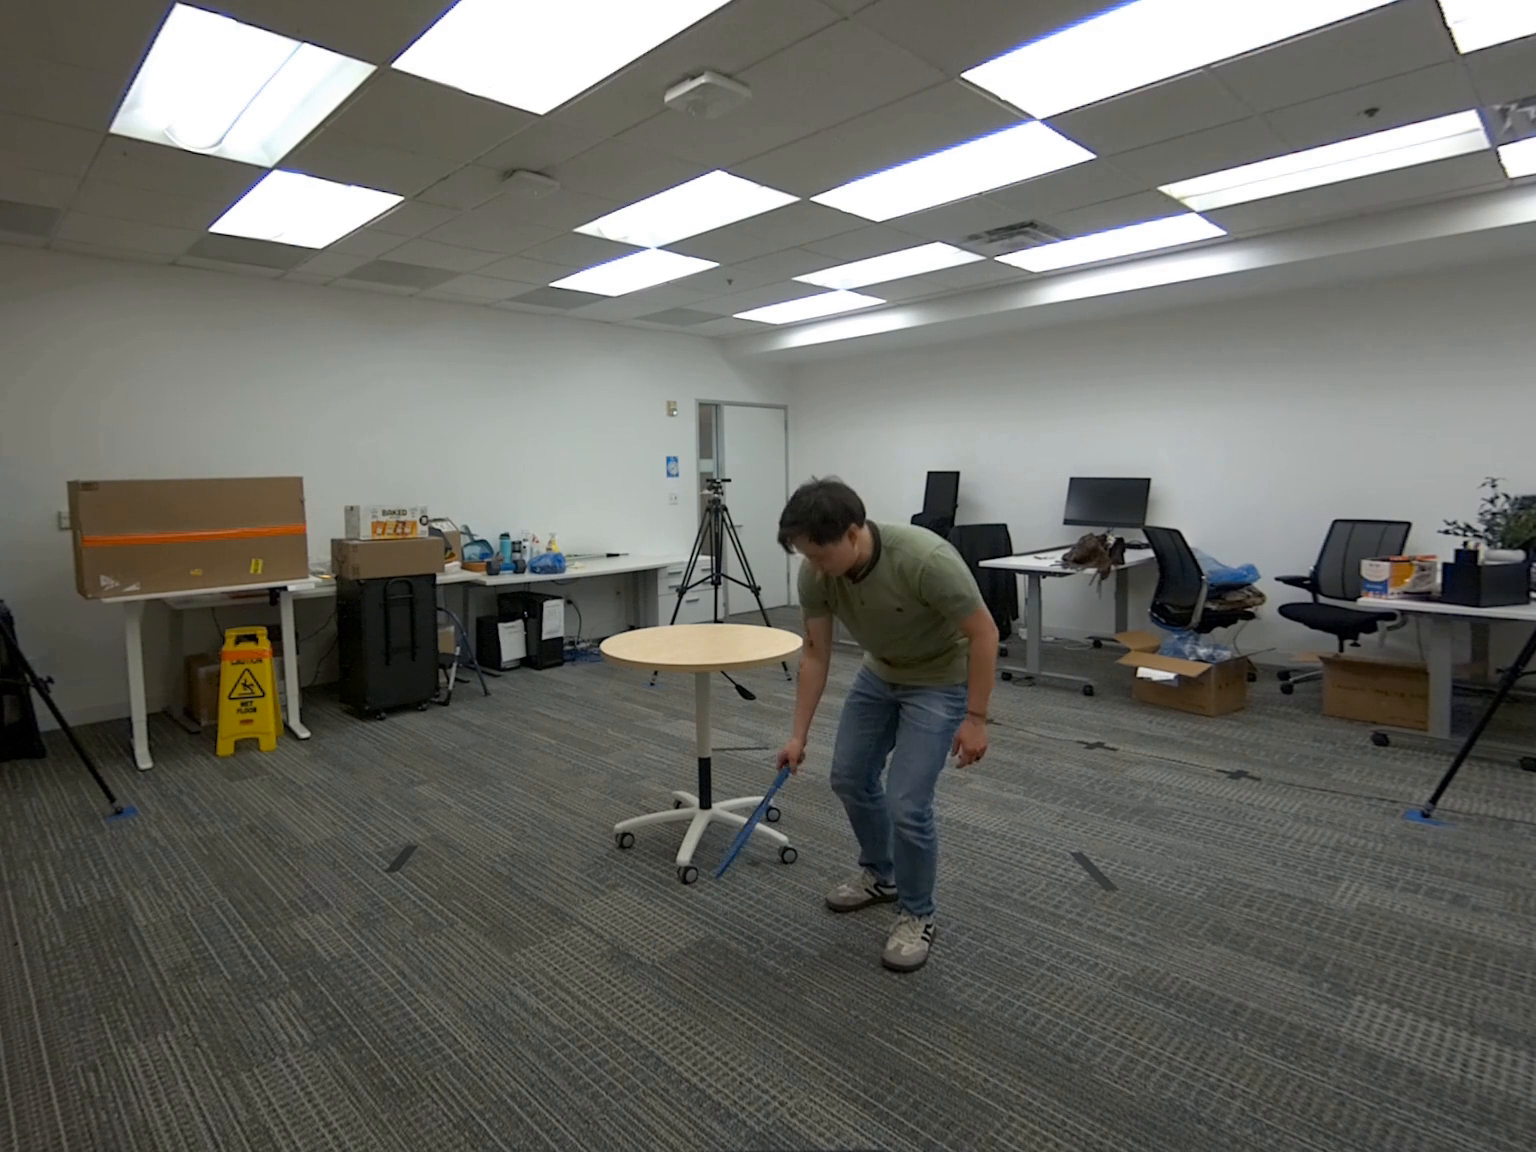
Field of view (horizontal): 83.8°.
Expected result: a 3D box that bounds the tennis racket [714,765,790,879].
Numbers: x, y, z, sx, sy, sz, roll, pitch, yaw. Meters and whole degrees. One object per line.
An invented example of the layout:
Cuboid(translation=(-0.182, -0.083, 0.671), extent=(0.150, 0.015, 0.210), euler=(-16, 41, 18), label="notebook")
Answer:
Cuboid(translation=(-0.040, 0.717, 2.499), extent=(0.032, 0.434, 0.212), euler=(36, -18, 2), label="tennis racket")
